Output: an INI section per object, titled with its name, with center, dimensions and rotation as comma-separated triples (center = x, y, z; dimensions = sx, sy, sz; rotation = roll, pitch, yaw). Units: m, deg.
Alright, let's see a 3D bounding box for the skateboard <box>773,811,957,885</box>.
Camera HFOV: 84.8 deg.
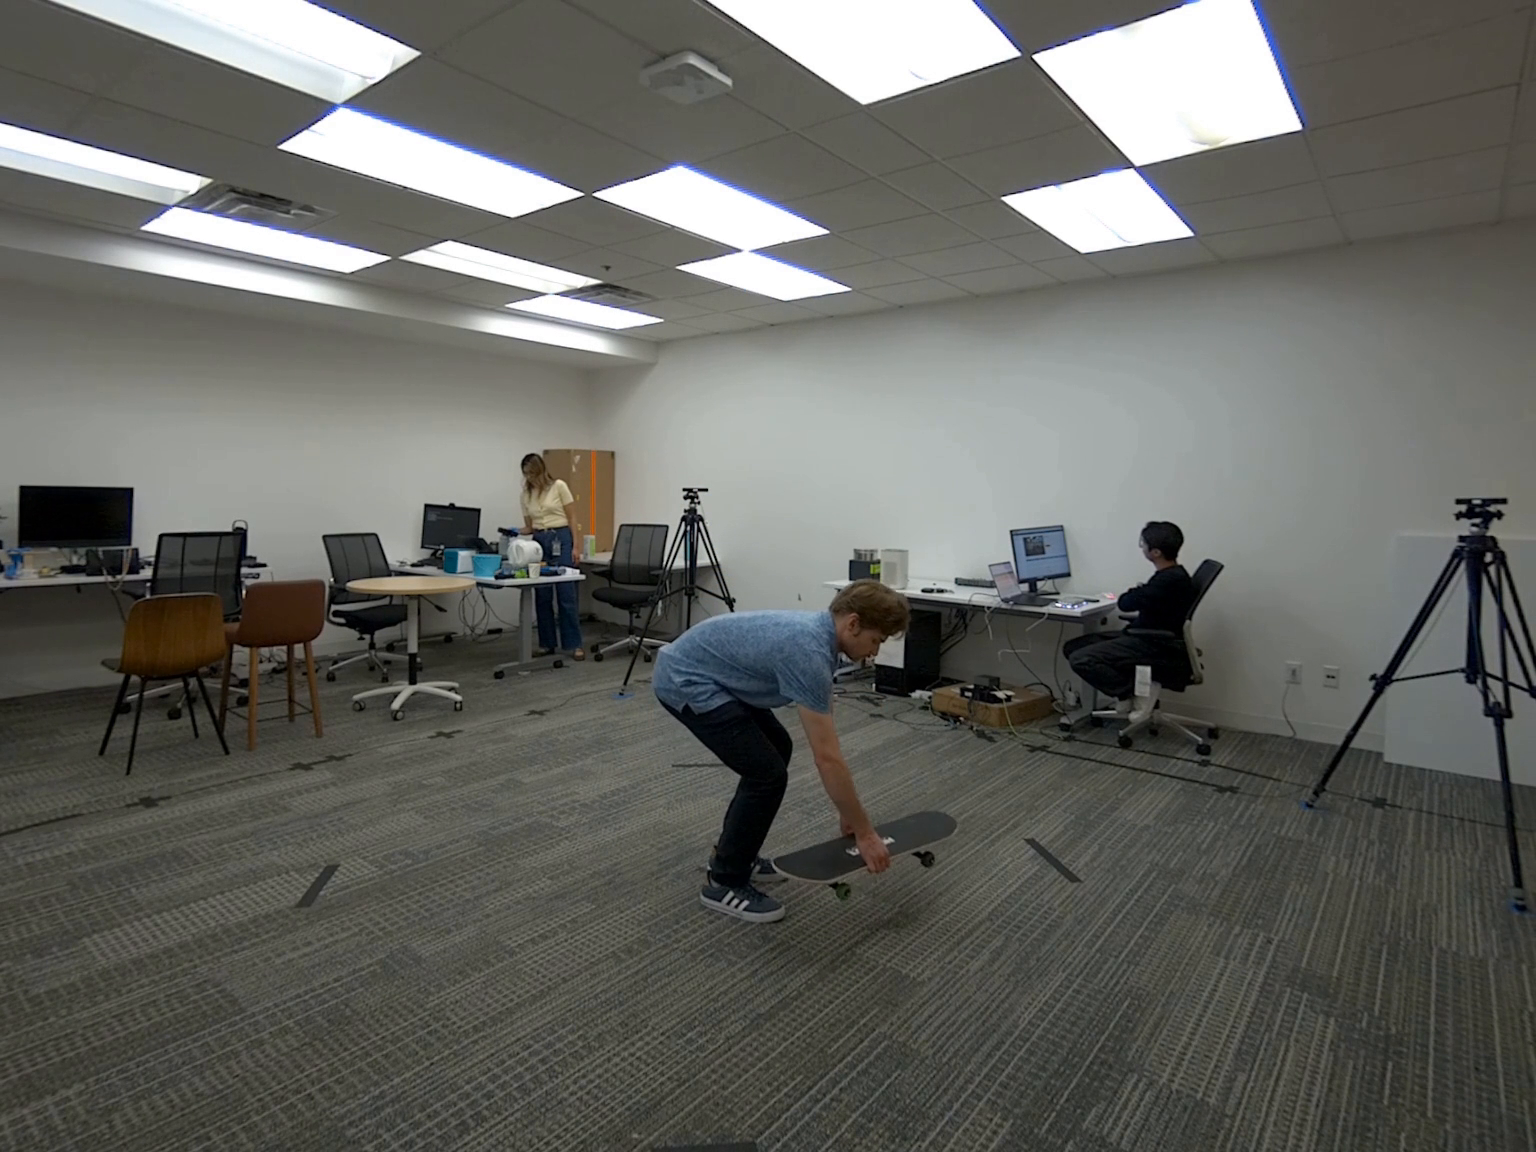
[skateboard]
center = 0.331, 0.904, 2.747
dimensions = 0.762, 0.110, 0.200
rotation = -3, 8, -39
